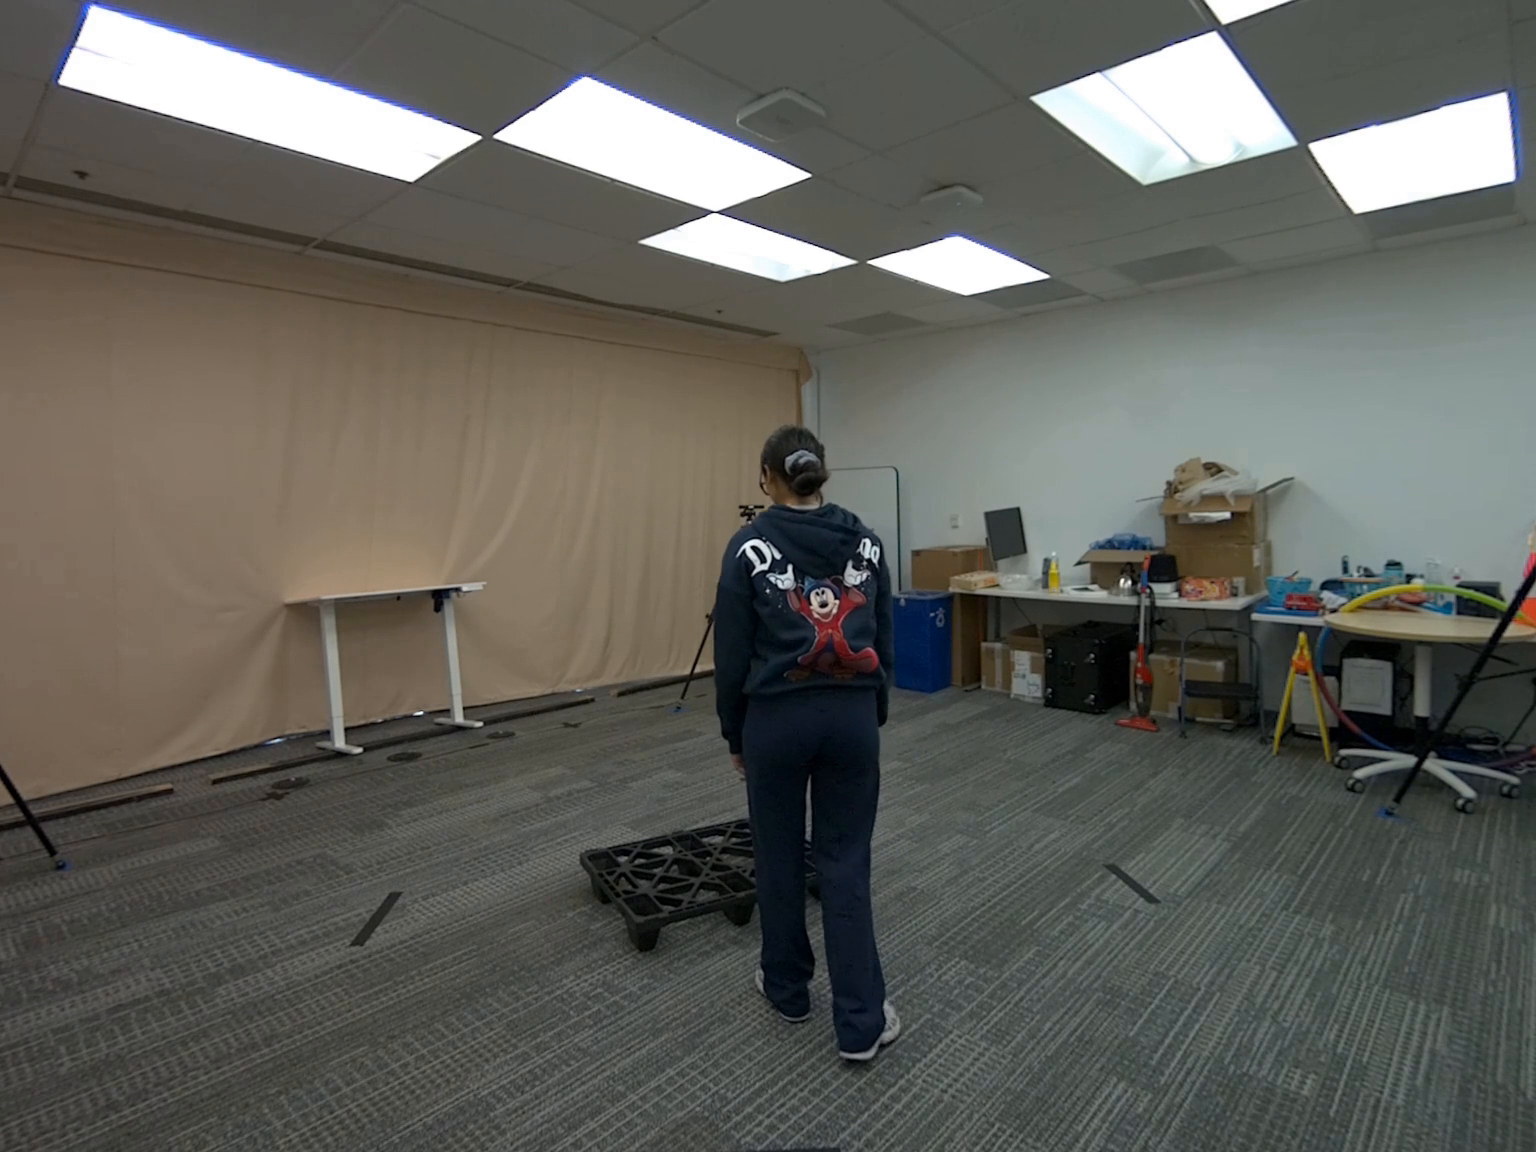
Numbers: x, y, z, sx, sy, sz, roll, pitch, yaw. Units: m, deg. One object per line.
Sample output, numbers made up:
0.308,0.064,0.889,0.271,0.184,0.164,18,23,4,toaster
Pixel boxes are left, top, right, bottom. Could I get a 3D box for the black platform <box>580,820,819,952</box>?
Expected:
-0.202,1.077,3.001,0.786,0.143,0.622,-4,5,-27,black platform
